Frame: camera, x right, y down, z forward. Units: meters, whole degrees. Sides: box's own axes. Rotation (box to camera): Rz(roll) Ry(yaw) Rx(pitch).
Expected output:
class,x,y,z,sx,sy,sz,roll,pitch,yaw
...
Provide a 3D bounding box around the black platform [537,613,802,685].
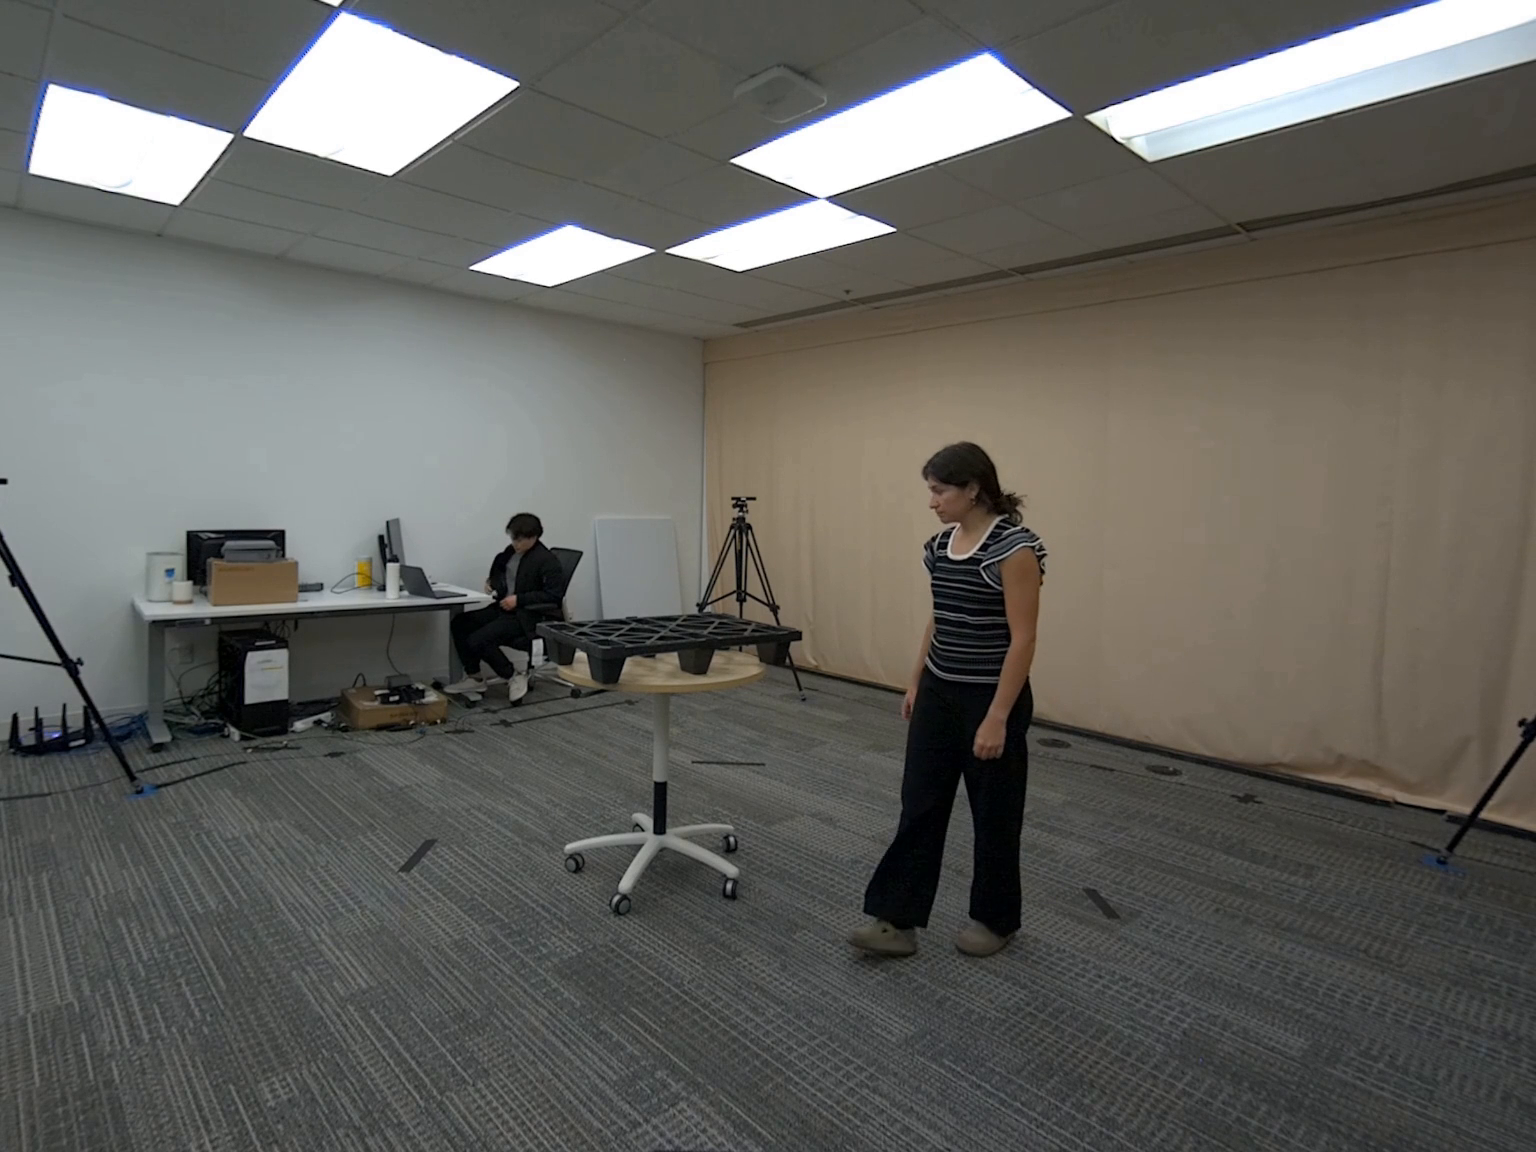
class,x,y,z,sx,sy,sz,roll,pitch,yaw
black platform,-0.383,0.259,3.084,0.788,0.143,0.619,-2,5,-35
